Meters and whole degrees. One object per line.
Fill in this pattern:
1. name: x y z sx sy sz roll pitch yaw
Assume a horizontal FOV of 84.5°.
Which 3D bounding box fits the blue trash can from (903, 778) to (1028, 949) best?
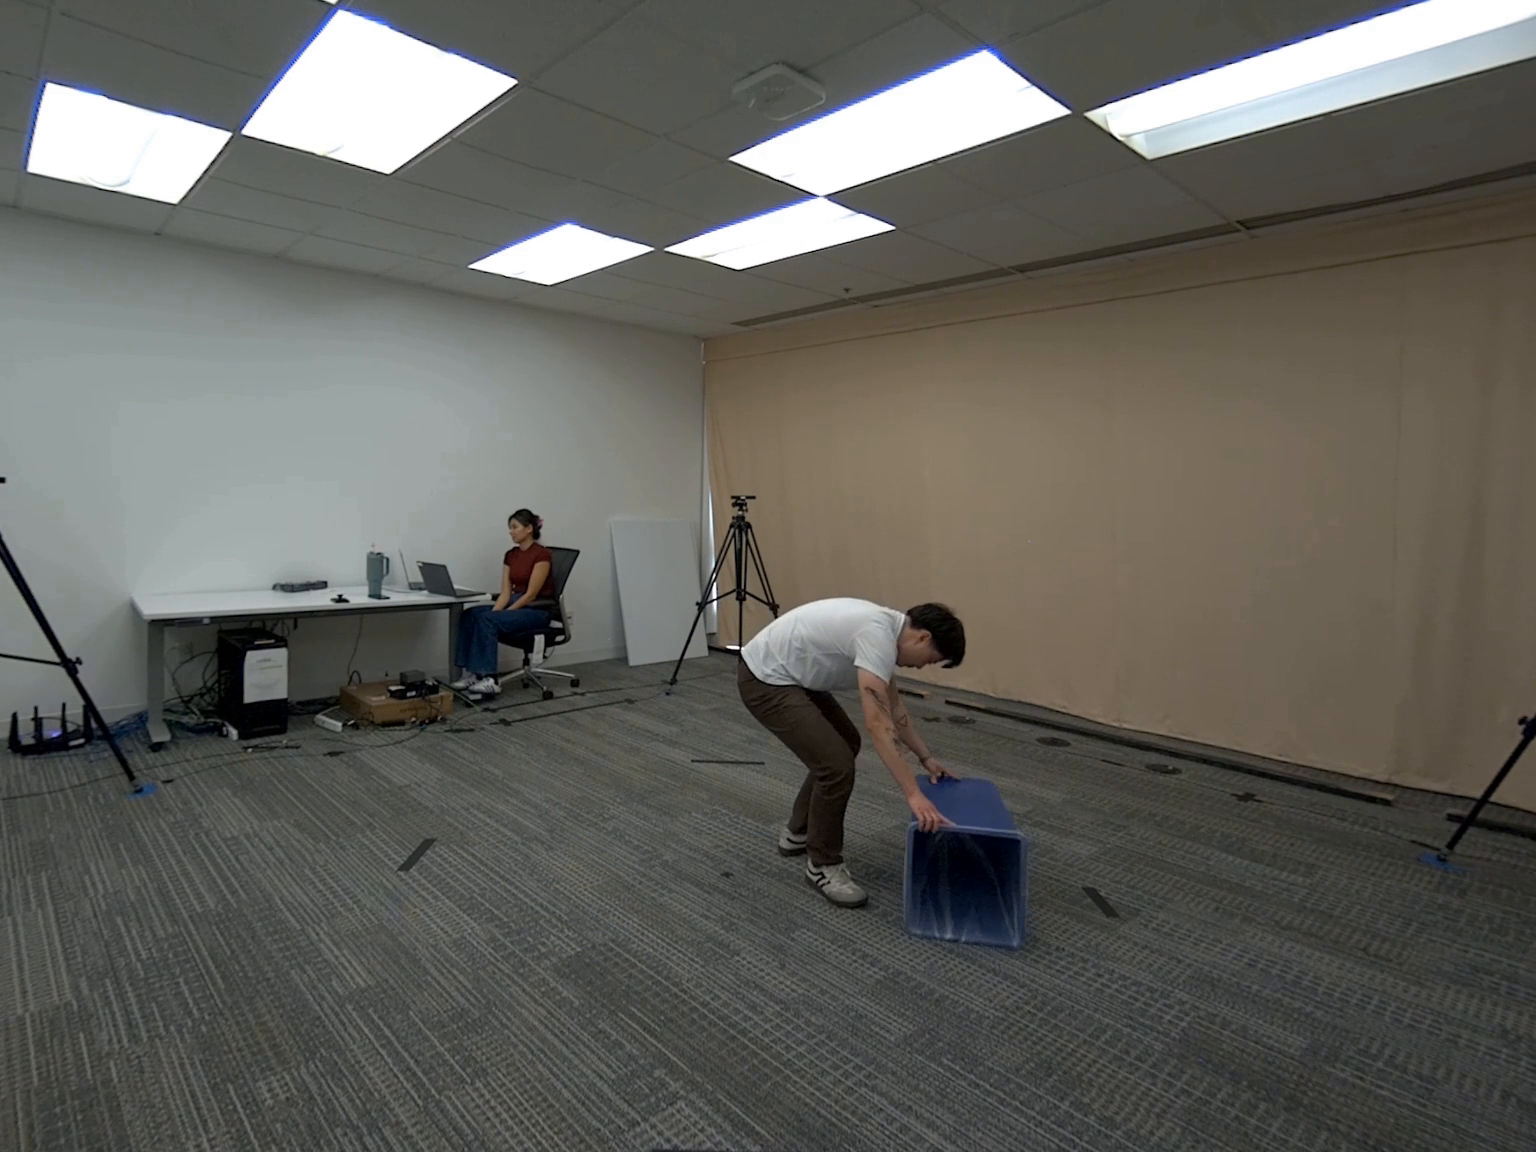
1. blue trash can: 0.675 0.956 2.999 0.377 0.377 0.708 0 2 10
